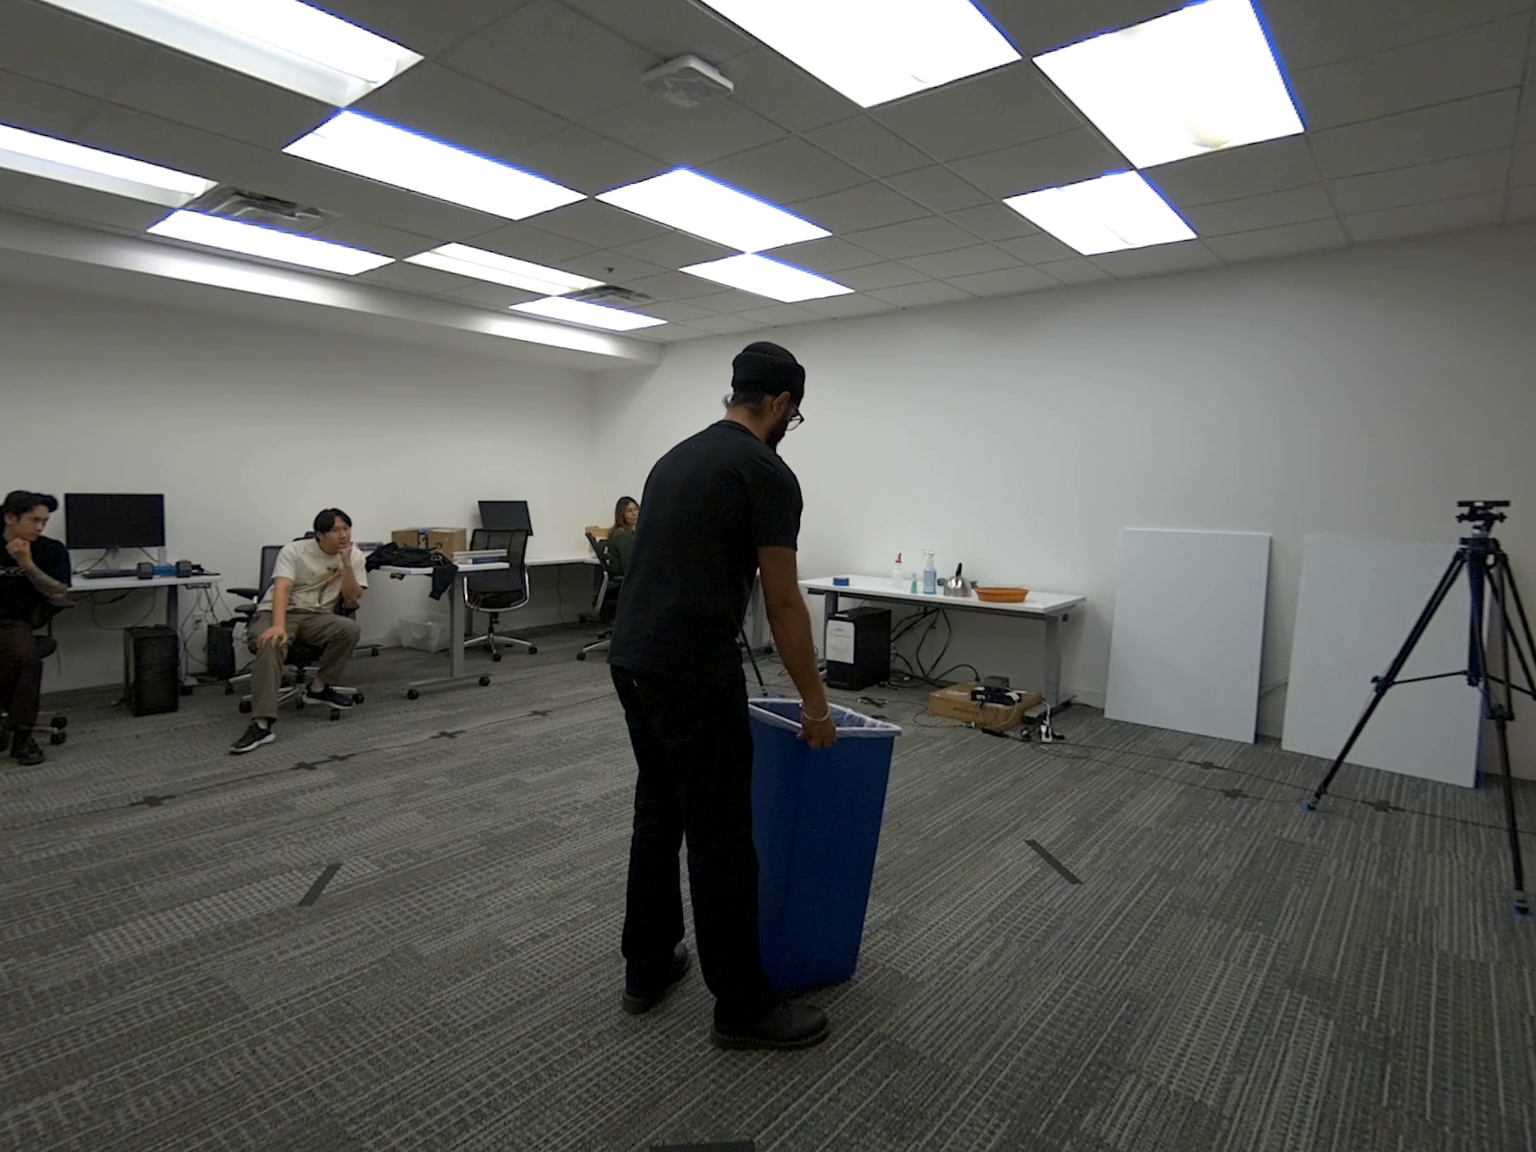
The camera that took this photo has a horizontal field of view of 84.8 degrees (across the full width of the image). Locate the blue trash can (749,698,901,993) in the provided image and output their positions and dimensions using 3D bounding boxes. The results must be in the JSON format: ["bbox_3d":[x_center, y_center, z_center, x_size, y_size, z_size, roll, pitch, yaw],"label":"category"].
[{"bbox_3d":[0.089,0.753,2.486,0.362,0.714,0.390,9,-2,-36],"label":"blue trash can"}]
